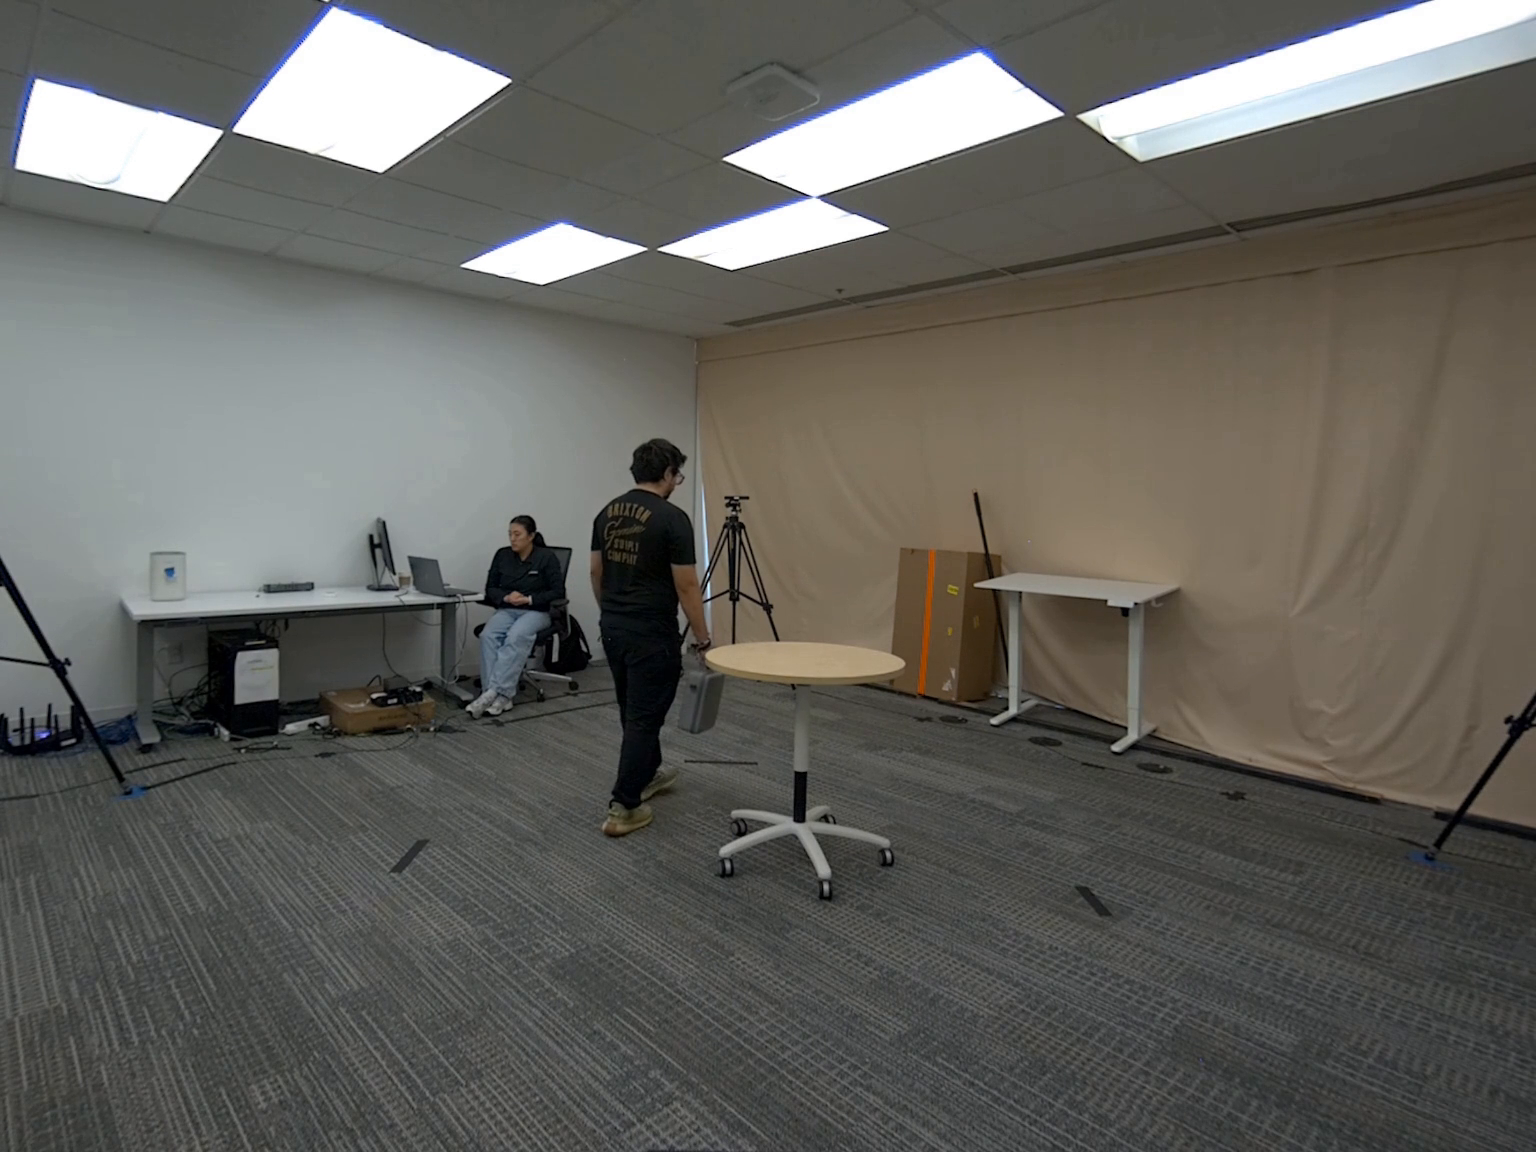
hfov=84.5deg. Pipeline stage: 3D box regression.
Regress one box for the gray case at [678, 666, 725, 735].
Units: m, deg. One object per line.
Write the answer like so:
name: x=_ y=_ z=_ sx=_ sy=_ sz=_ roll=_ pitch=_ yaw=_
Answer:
gray case: x=-0.293 y=0.522 z=3.549 sx=0.105 sy=0.261 sz=0.253 roll=11 pitch=-2 yaw=11
